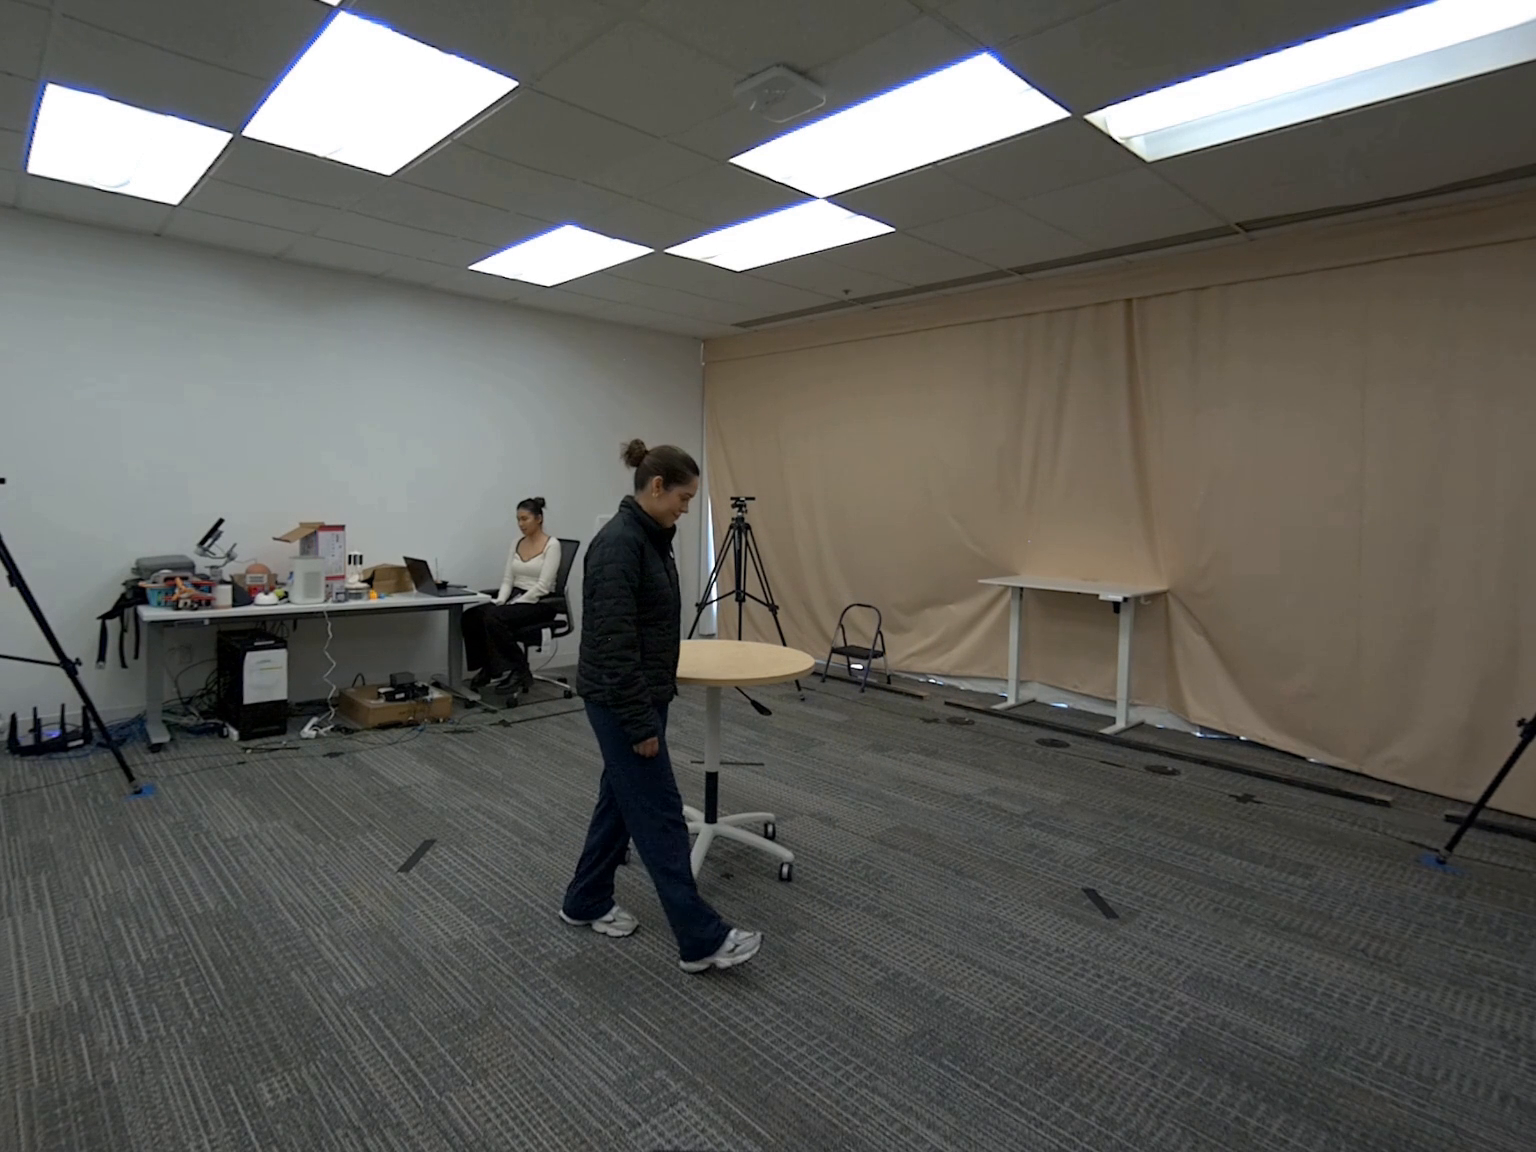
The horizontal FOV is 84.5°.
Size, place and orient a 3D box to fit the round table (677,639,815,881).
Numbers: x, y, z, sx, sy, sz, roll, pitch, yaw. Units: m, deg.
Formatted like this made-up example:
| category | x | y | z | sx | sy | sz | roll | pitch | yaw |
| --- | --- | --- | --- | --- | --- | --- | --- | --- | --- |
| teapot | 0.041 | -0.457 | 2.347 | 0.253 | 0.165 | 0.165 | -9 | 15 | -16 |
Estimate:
| category | x | y | z | sx | sy | sz | roll | pitch | yaw |
| --- | --- | --- | --- | --- | --- | --- | --- | --- | --- |
| round table | -0.203 | 0.703 | 3.230 | 0.784 | 0.784 | 0.788 | 1 | 4 | -1 |
